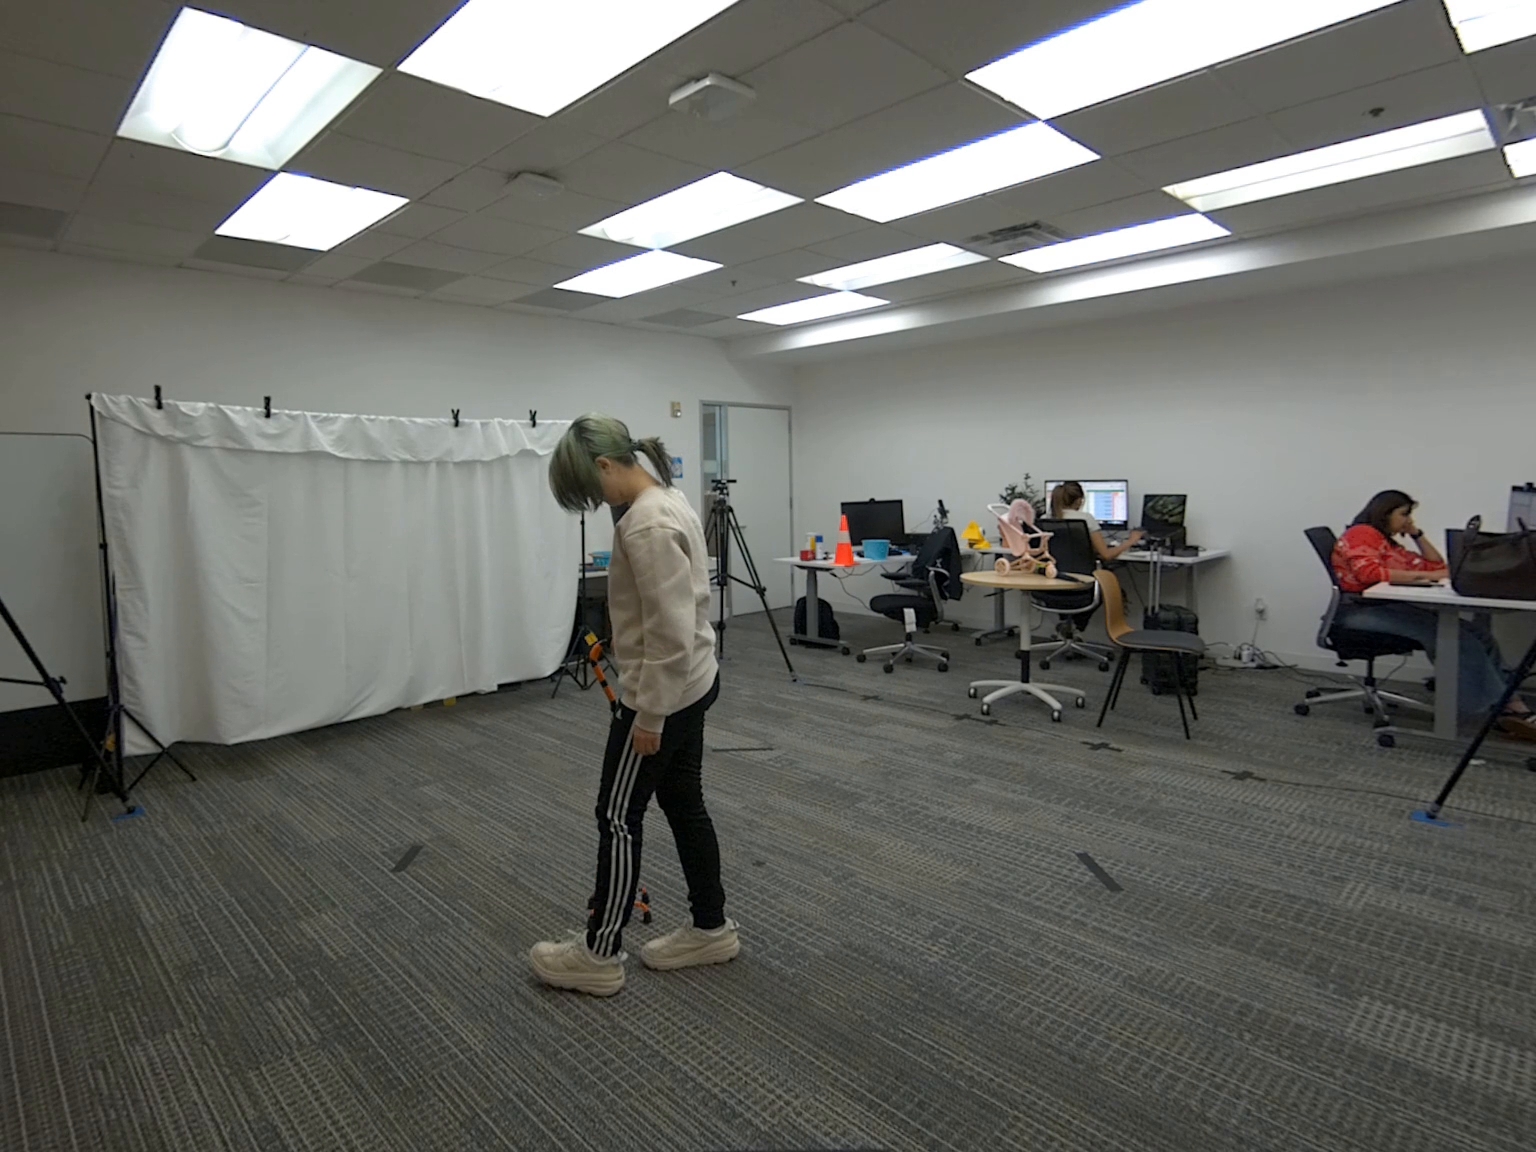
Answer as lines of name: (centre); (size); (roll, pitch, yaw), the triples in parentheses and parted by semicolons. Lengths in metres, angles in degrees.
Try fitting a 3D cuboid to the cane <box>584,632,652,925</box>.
cane: (-0.491, 0.653, 2.737); (0.204, 0.905, 0.153); (-3, 3, -11)
